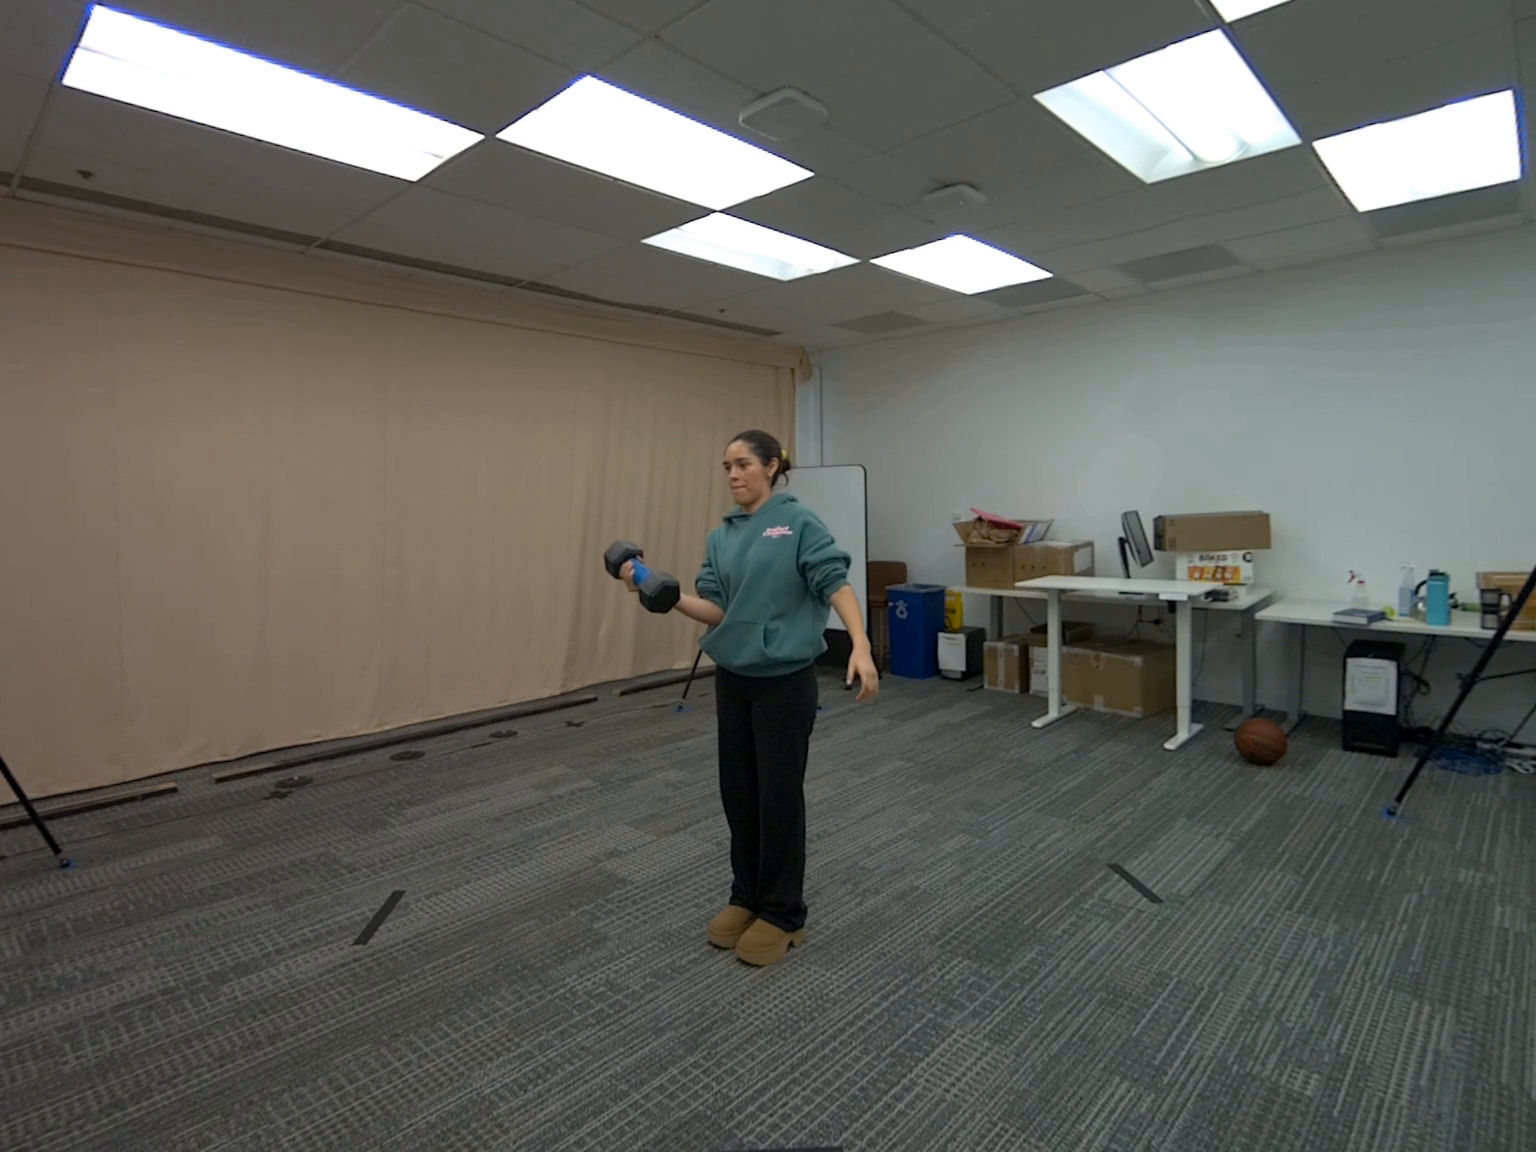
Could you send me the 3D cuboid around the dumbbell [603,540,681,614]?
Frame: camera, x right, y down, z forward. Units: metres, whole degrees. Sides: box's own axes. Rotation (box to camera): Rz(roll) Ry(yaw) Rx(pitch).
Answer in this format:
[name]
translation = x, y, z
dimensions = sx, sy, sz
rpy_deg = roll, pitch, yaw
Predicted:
[dumbbell]
translation = -0.377, 0.002, 2.538
dimensions = 0.119, 0.108, 0.304
rpy_deg = 11, 20, -44
